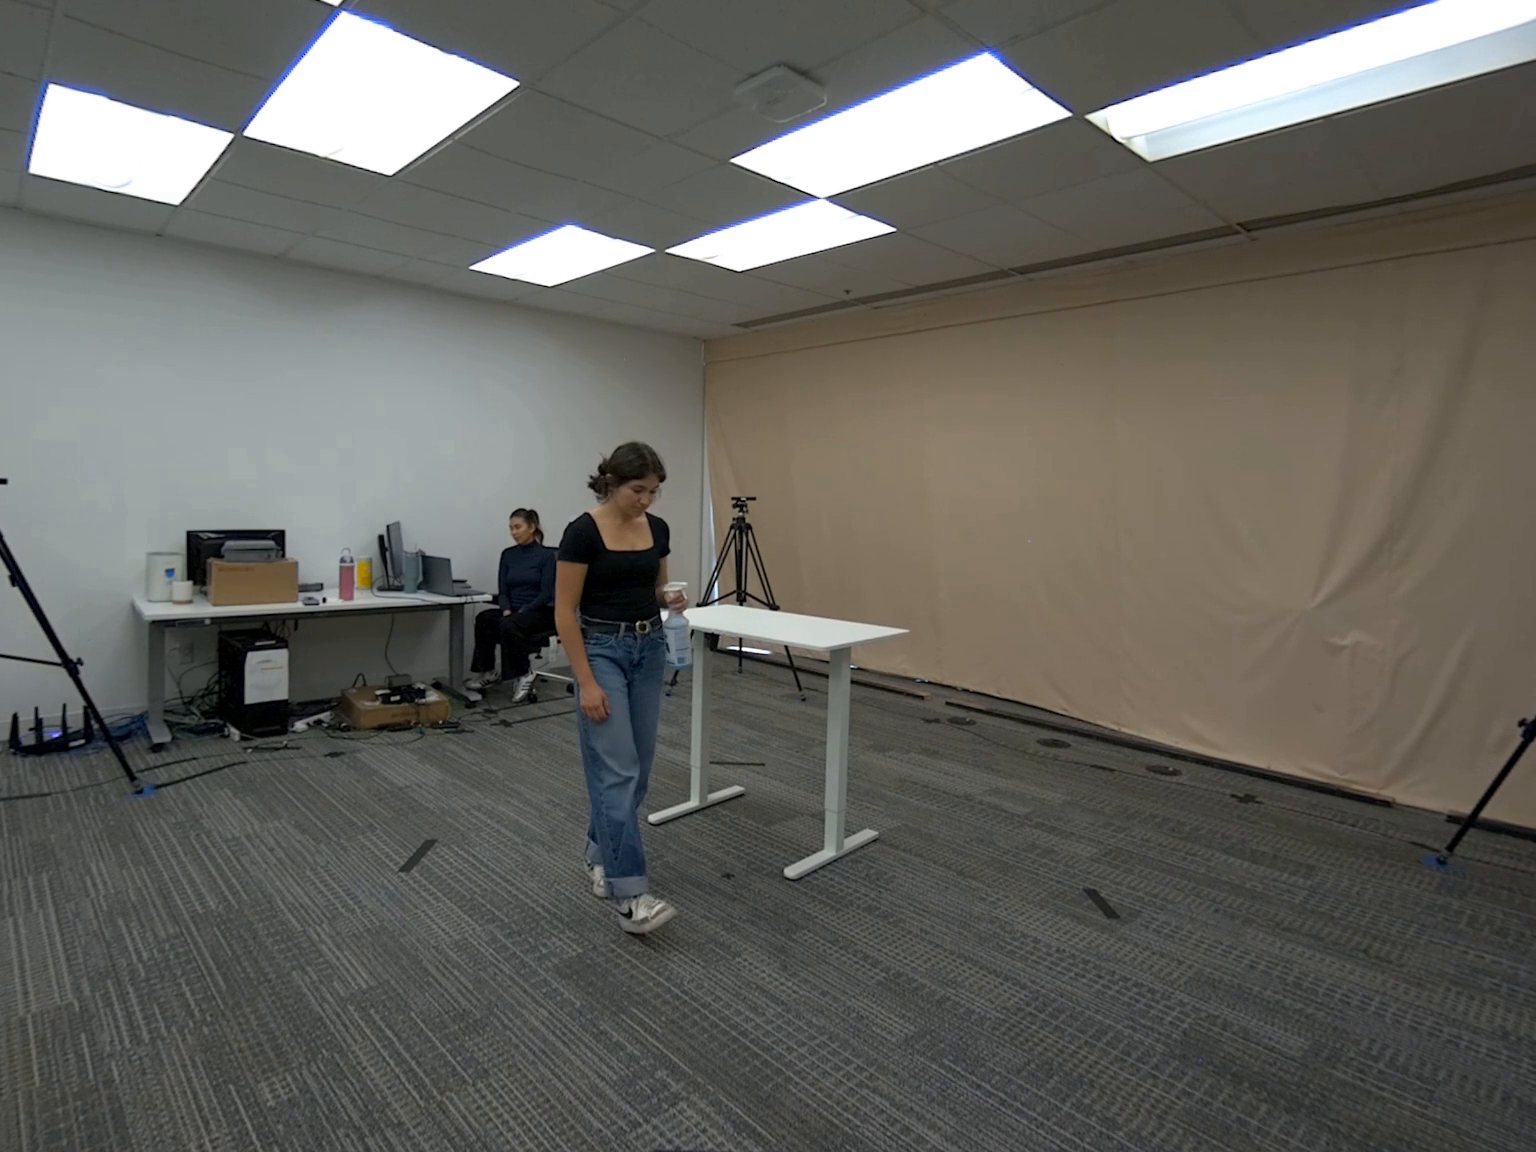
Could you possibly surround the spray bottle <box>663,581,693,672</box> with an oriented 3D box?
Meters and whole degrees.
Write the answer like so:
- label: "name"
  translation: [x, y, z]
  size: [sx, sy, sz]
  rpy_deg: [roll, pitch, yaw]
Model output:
- label: "spray bottle"
  translation: [-0.321, 0.165, 2.832]
  size: [0.085, 0.294, 0.092]
  rpy_deg: [-12, 17, -39]
